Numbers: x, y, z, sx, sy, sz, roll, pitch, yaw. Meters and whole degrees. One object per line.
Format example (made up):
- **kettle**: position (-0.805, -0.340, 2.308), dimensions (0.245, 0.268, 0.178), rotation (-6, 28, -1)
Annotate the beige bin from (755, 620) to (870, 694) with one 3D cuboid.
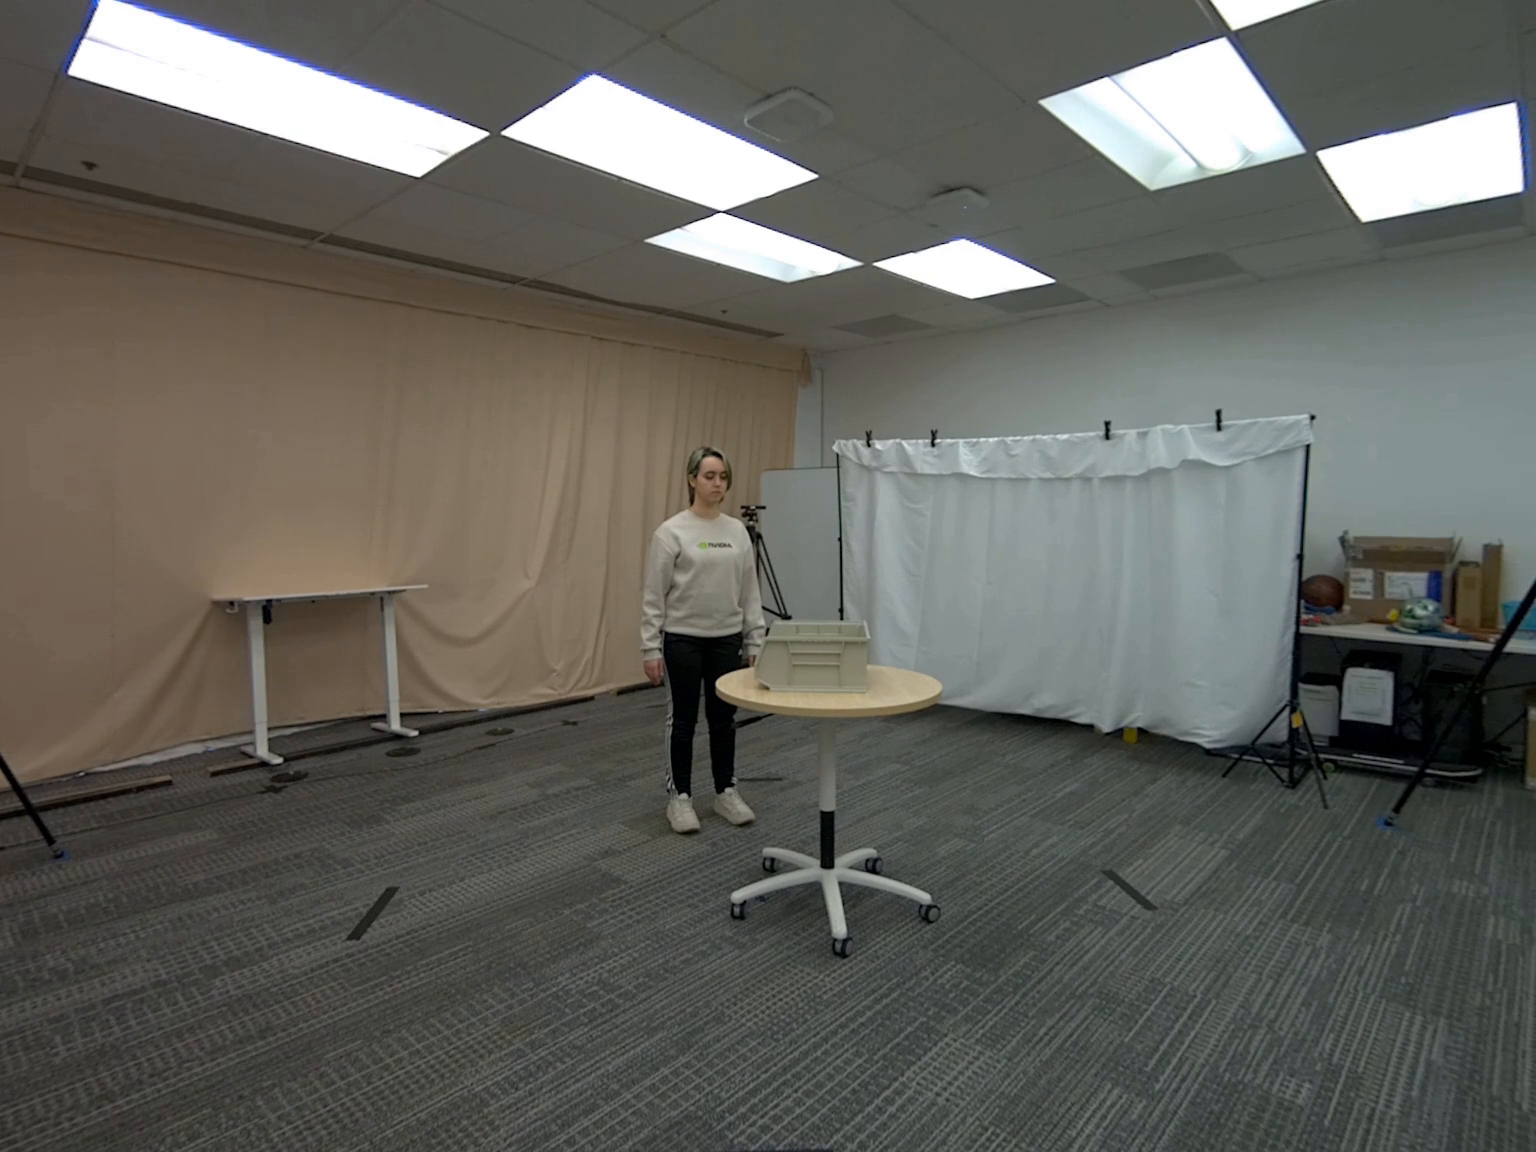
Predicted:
- **beige bin**: position (0.162, 0.270, 2.941), dimensions (0.380, 0.188, 0.420), rotation (2, 4, 6)
